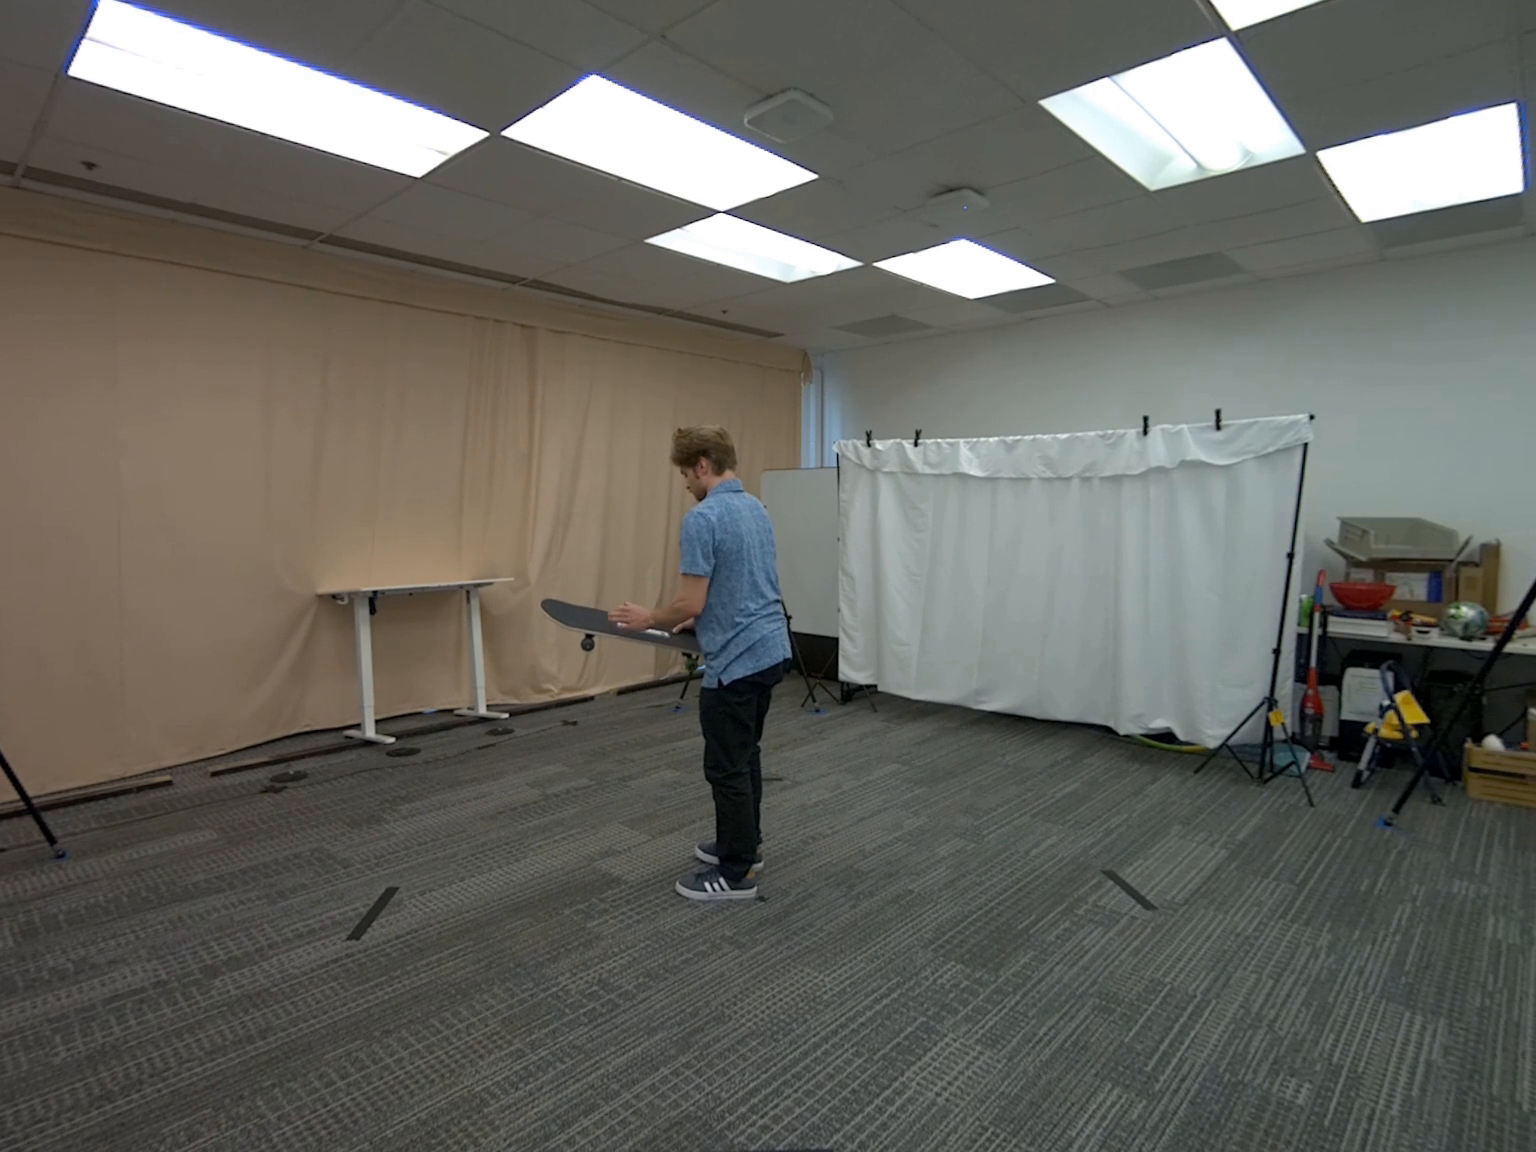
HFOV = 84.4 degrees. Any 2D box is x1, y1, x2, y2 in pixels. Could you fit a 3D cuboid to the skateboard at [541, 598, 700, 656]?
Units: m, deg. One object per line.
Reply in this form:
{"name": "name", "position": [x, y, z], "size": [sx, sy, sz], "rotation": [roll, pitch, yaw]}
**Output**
{"name": "skateboard", "position": [-0.465, 0.239, 3.162], "size": [0.769, 0.110, 0.198], "rotation": [12, 21, -18]}
